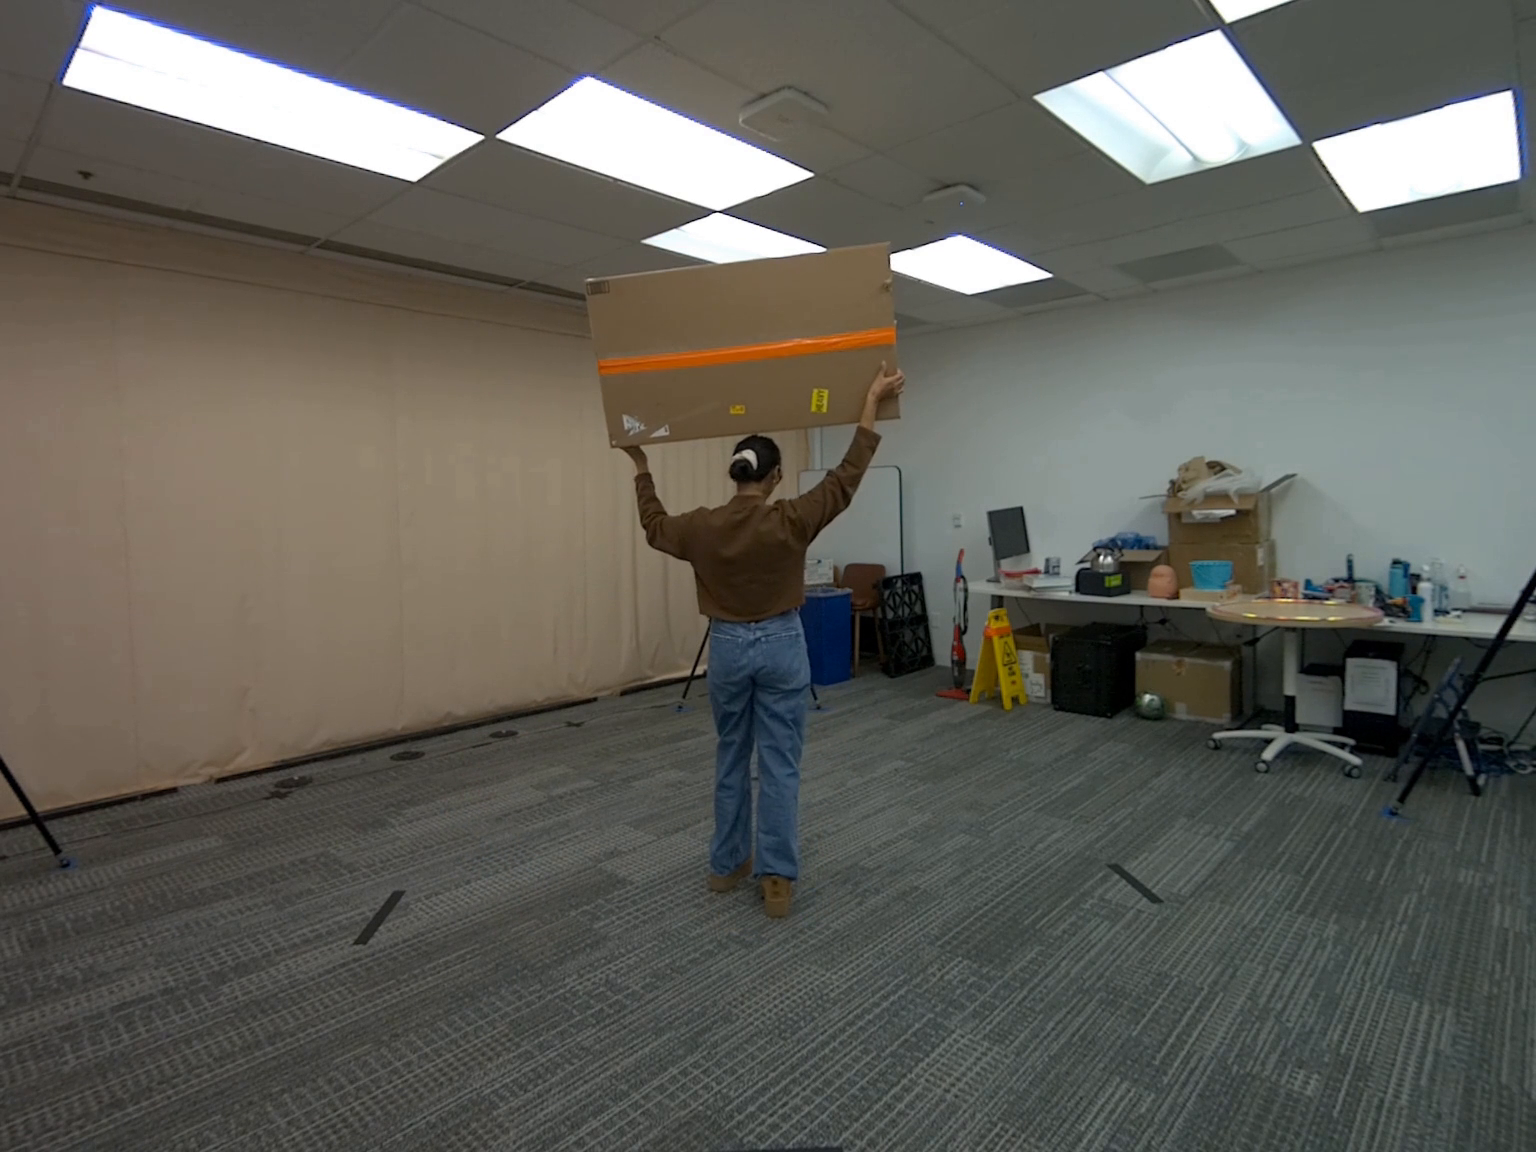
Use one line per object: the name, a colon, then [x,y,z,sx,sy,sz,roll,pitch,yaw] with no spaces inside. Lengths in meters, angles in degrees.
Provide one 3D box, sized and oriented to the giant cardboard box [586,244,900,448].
giant cardboard box: [-0.071,-0.829,3.044,1.035,0.570,0.428,-5,19,8]
